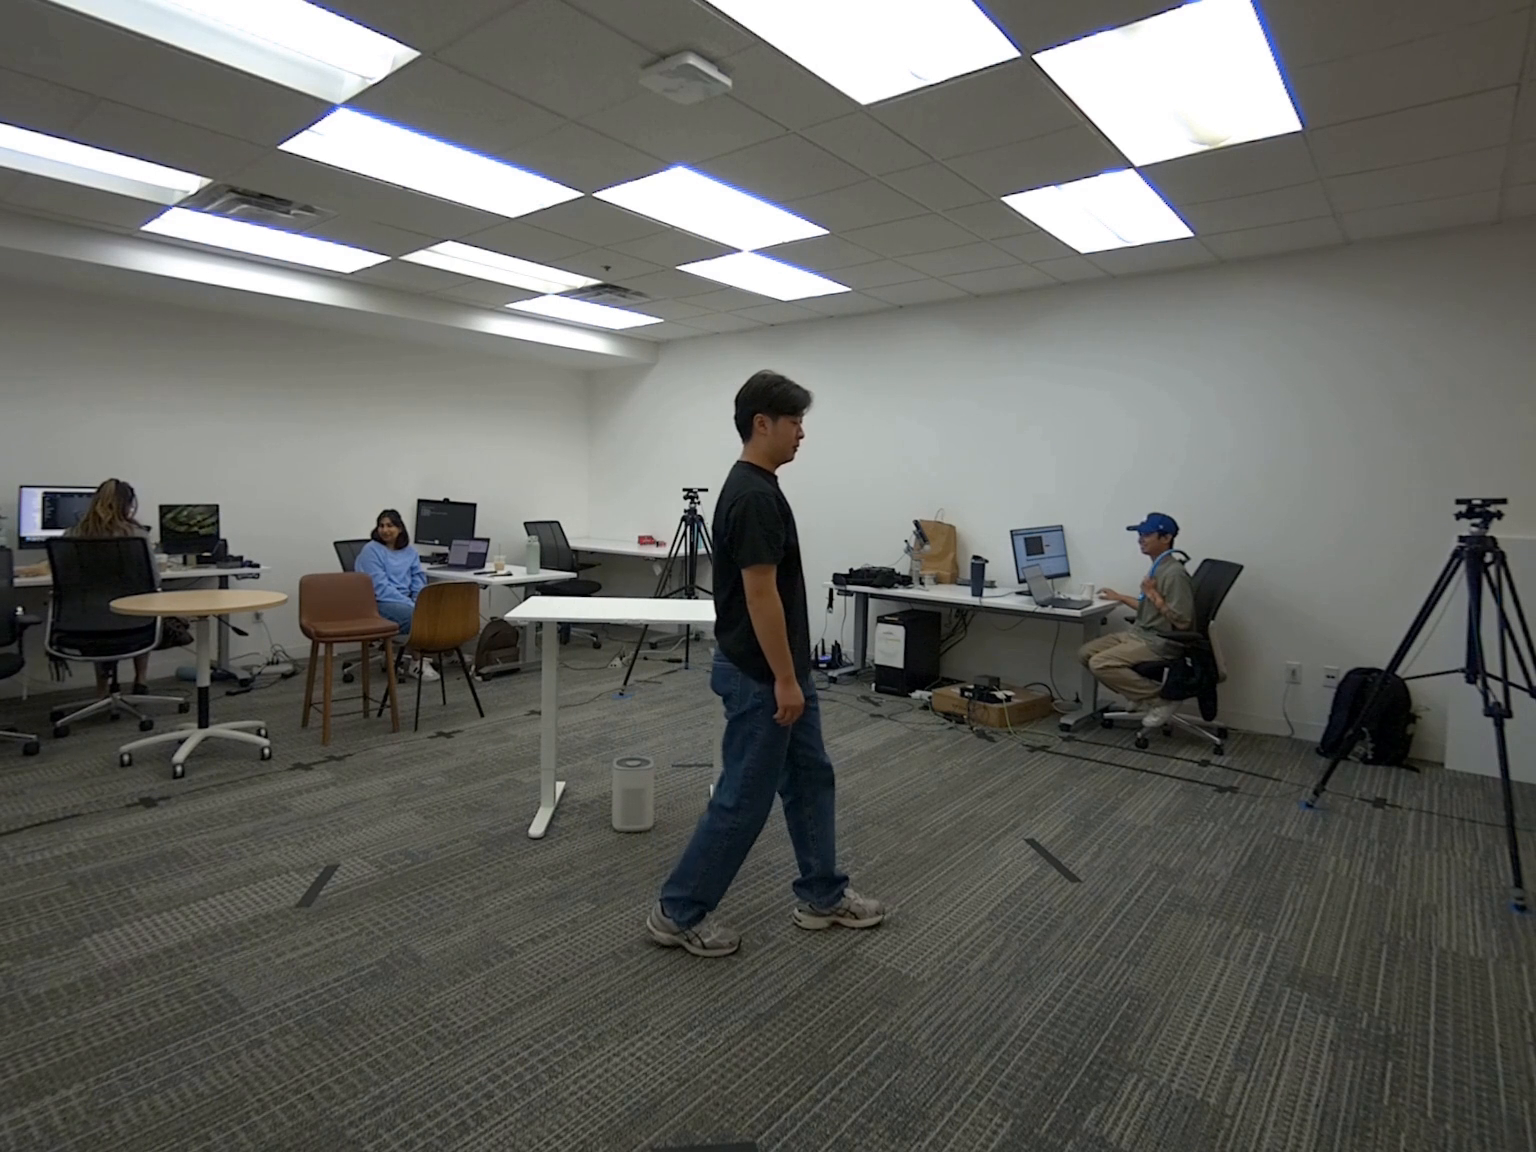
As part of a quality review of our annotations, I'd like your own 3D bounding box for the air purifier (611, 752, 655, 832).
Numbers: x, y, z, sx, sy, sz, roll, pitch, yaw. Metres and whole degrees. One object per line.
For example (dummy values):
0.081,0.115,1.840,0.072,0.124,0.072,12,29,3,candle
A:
-0.565,0.891,3.489,0.170,0.264,0.173,0,4,-9,air purifier
